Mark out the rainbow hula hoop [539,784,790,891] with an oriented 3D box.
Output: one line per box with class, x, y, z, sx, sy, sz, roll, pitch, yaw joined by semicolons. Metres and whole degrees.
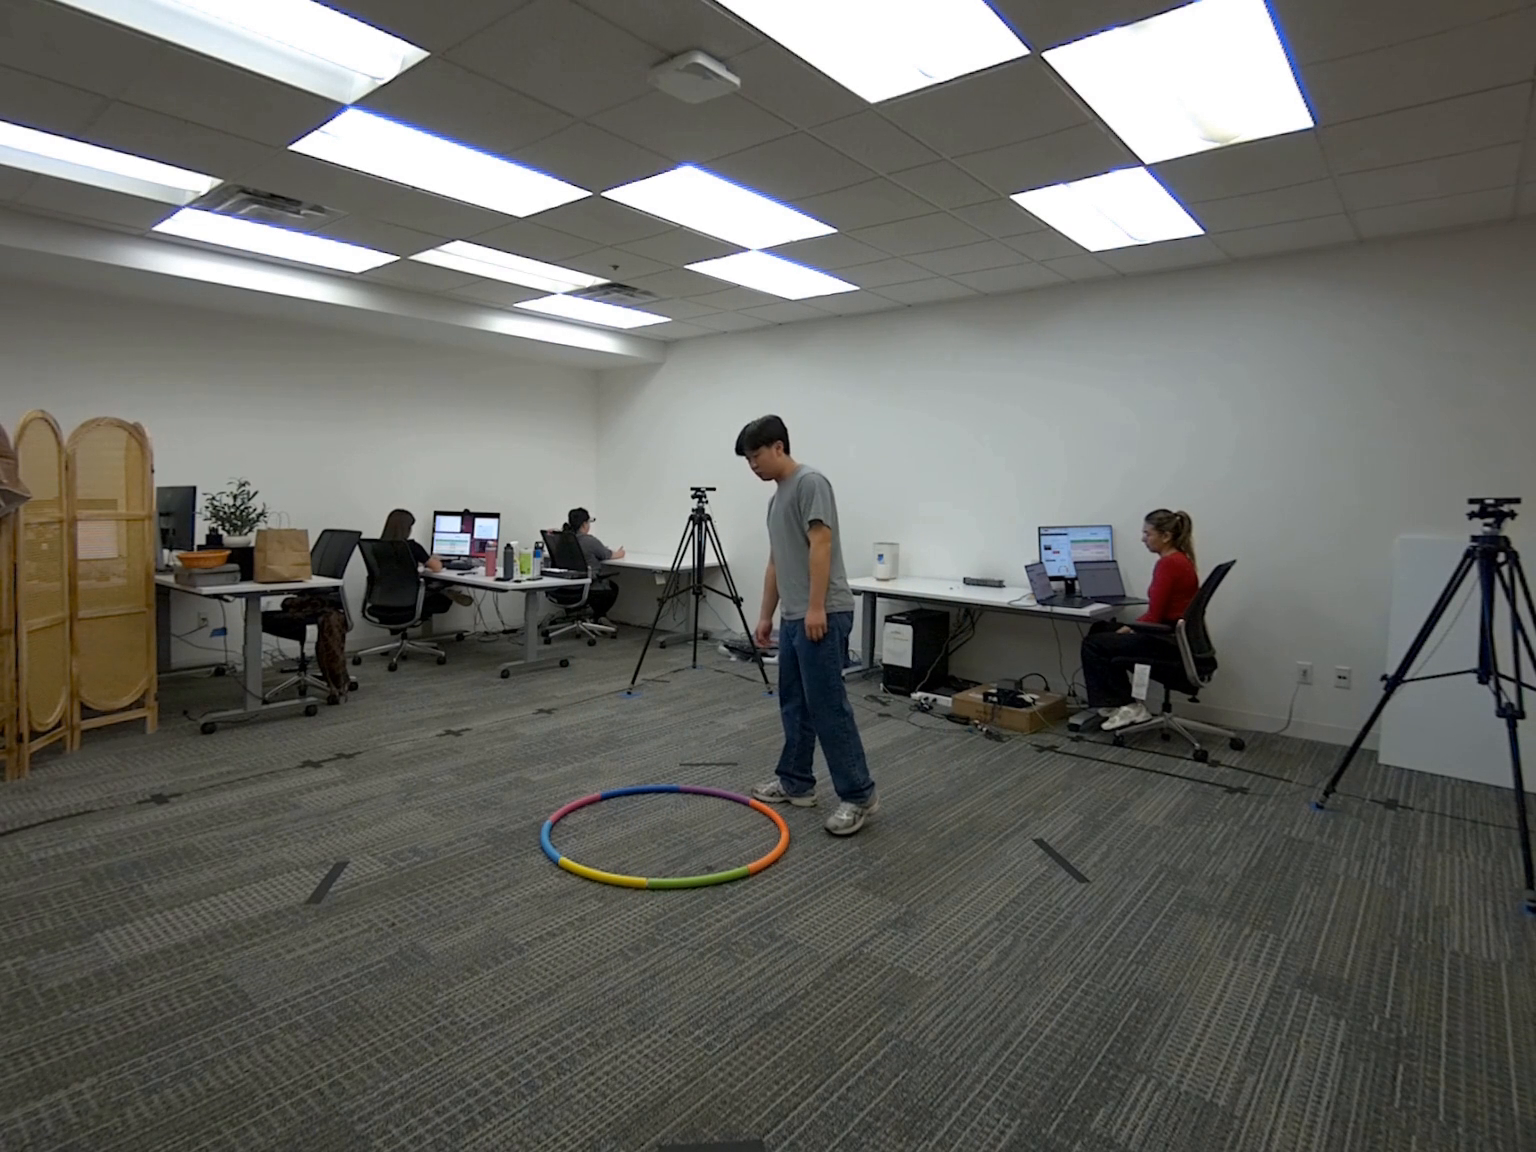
rainbow hula hoop;-0.418;1.005;3.403;0.978;0.035;0.984;1;6;-2
